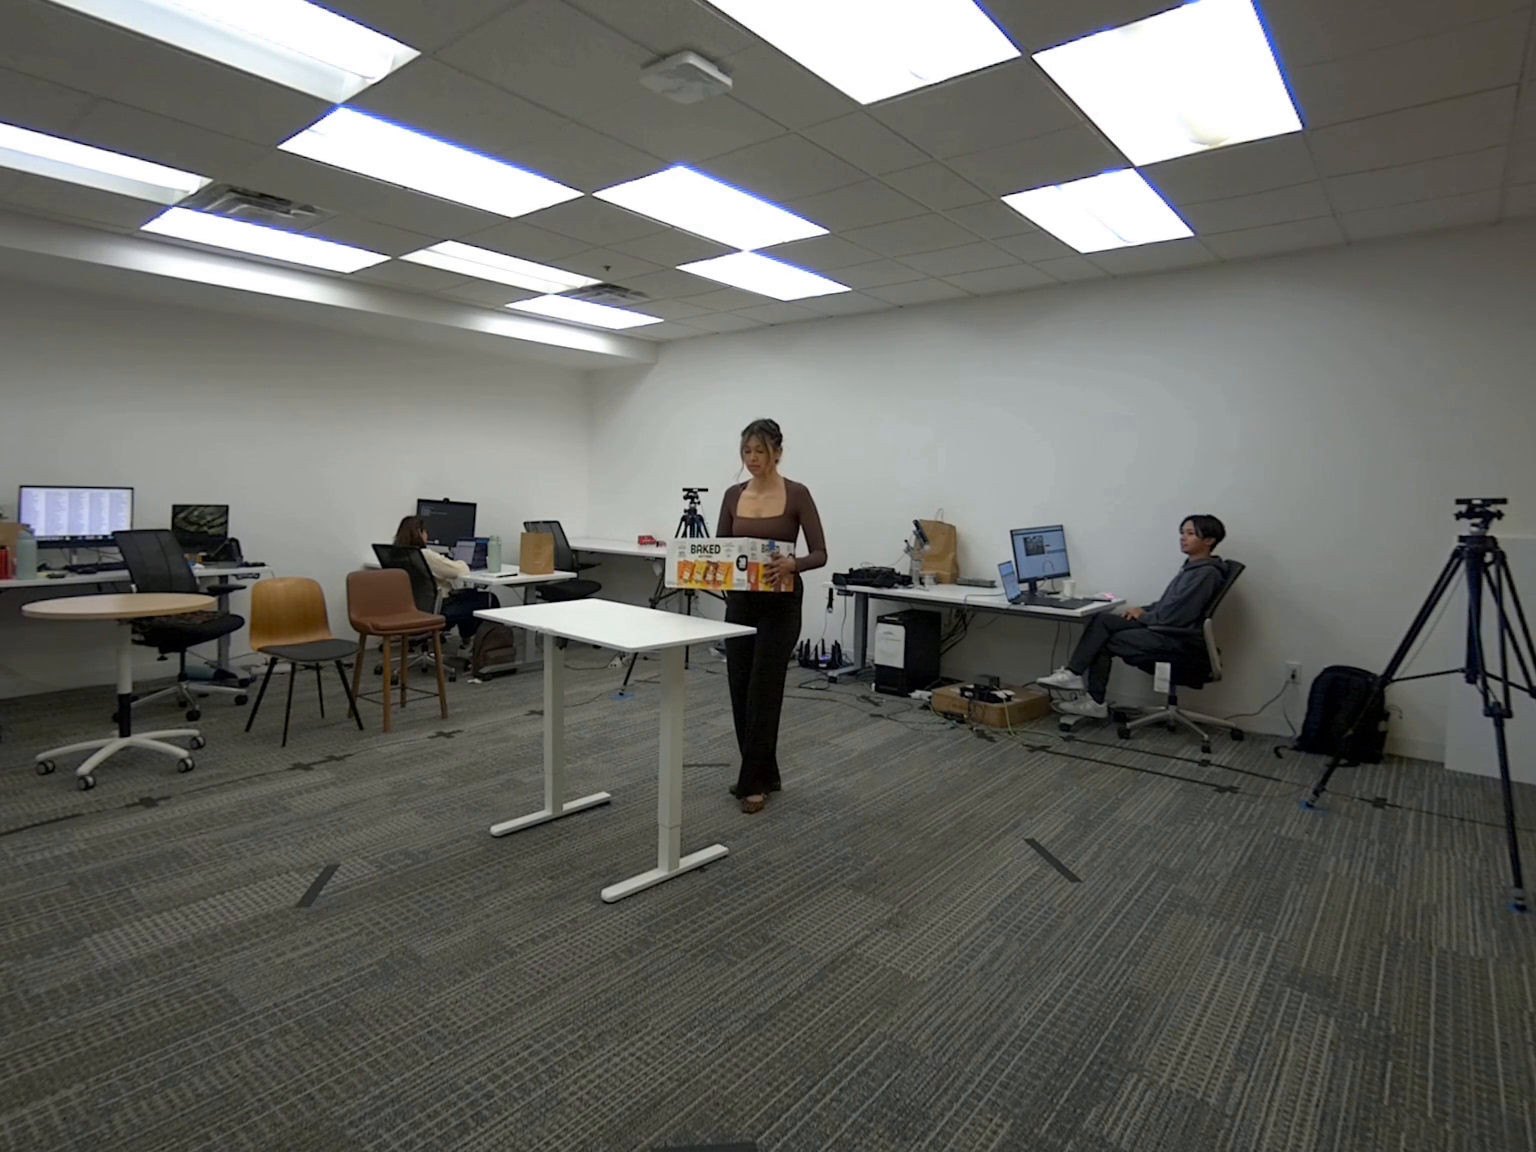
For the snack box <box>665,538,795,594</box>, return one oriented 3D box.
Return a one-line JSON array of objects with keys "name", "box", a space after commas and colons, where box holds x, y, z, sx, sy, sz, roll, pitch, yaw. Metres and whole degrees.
[{"name": "snack box", "box": [-0.166, -0.045, 3.503, 0.417, 0.206, 0.329, 1, -2, 35]}]
